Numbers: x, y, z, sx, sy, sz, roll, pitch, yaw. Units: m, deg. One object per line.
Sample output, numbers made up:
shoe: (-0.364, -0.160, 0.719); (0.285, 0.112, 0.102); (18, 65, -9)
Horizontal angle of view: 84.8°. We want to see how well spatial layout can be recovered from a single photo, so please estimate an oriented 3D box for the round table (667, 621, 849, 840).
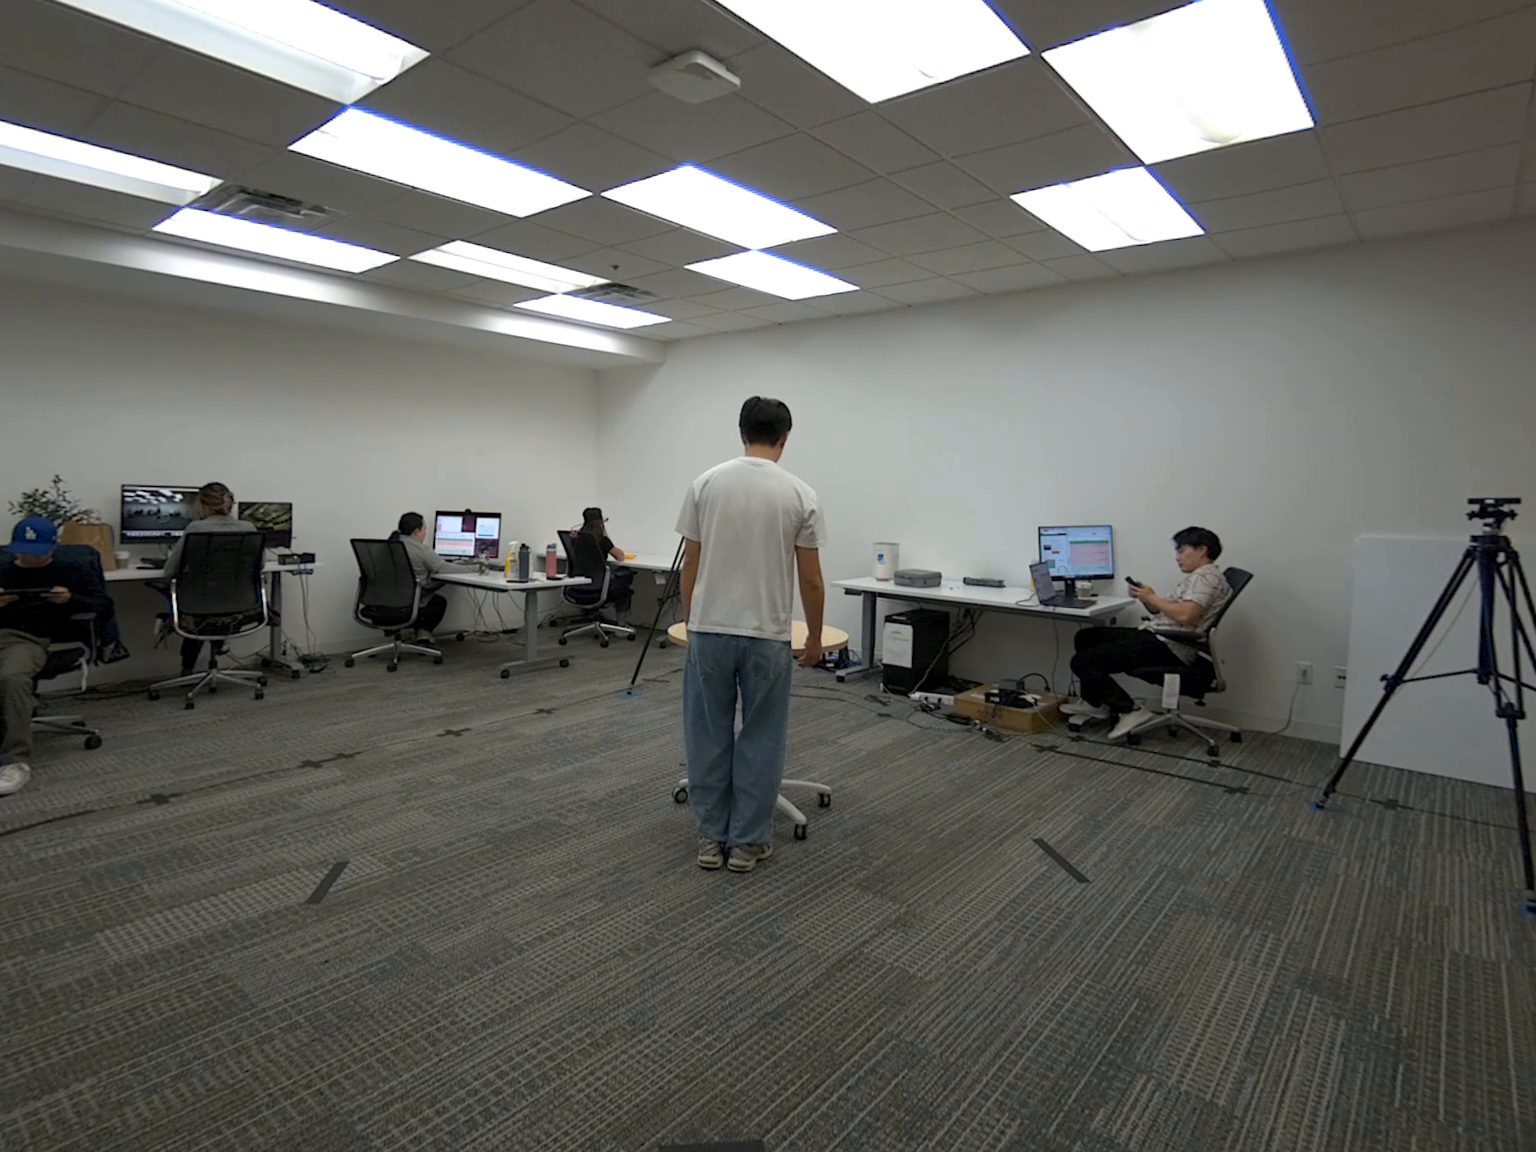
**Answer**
round table: (-0.064, 0.625, 3.640); (0.763, 0.791, 0.768); (1, 4, -2)
